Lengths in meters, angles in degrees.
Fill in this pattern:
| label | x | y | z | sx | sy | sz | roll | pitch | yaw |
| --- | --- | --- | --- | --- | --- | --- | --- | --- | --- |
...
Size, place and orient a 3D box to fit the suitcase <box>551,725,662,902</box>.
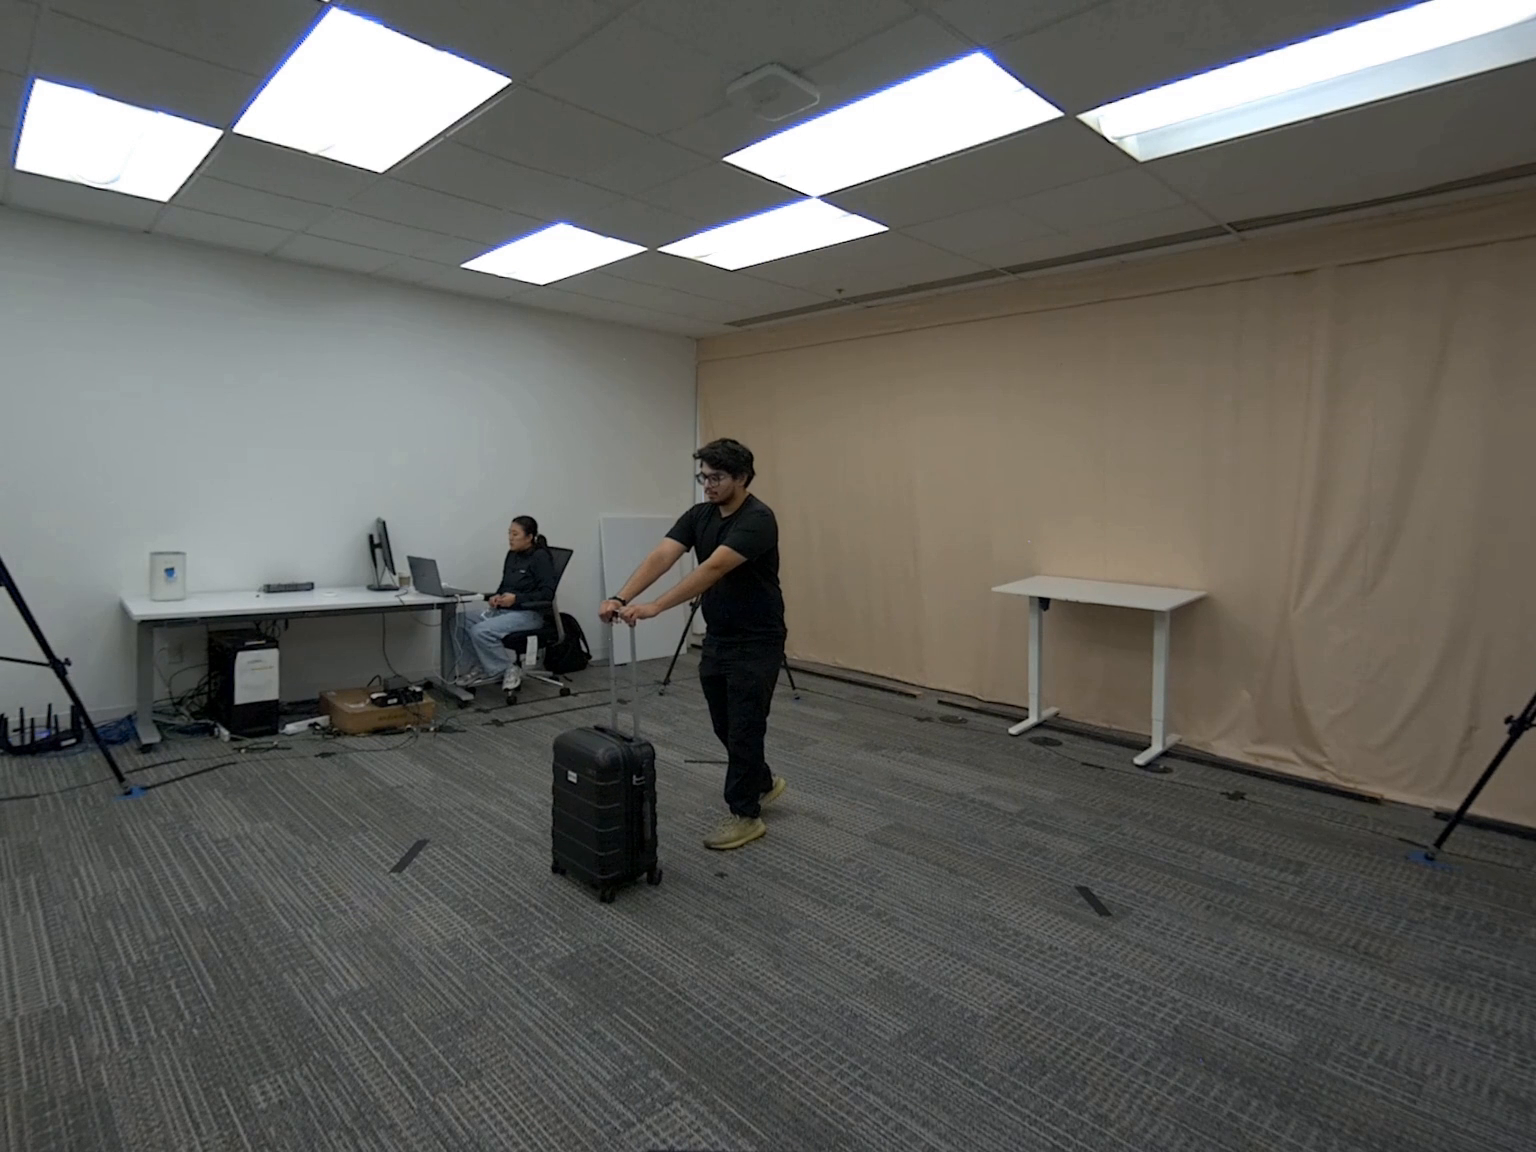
| label | x | y | z | sx | sy | sz | roll | pitch | yaw |
| --- | --- | --- | --- | --- | --- | --- | --- | --- | --- |
| suitcase | -0.599 | 0.629 | 2.991 | 0.252 | 0.973 | 0.394 | -8 | 10 | -44 |
